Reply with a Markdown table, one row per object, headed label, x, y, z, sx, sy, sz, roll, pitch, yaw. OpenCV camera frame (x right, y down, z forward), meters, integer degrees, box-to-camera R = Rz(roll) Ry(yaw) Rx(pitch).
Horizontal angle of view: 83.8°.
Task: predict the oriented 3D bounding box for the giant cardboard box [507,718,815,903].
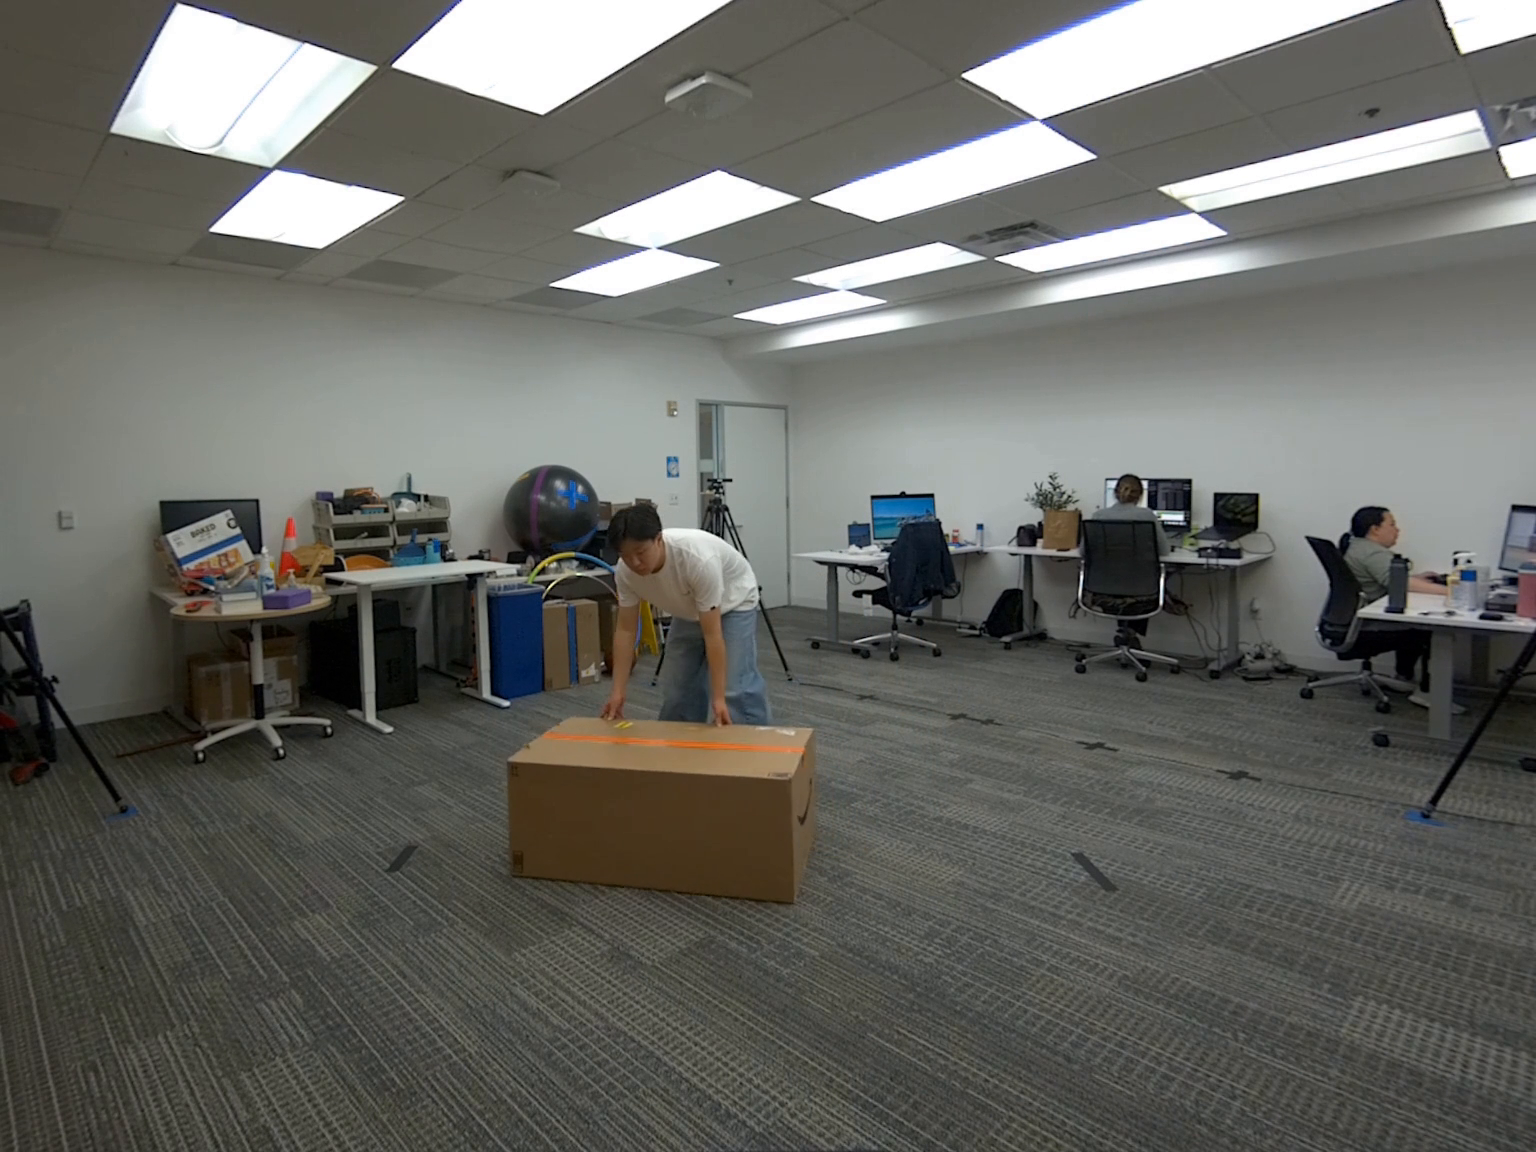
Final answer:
| label | x | y | z | sx | sy | sz | roll | pitch | yaw |
| --- | --- | --- | --- | --- | --- | --- | --- | --- | --- |
| giant cardboard box | -0.367 | 0.827 | 3.177 | 1.039 | 0.425 | 0.572 | 0 | 5 | 12 |
